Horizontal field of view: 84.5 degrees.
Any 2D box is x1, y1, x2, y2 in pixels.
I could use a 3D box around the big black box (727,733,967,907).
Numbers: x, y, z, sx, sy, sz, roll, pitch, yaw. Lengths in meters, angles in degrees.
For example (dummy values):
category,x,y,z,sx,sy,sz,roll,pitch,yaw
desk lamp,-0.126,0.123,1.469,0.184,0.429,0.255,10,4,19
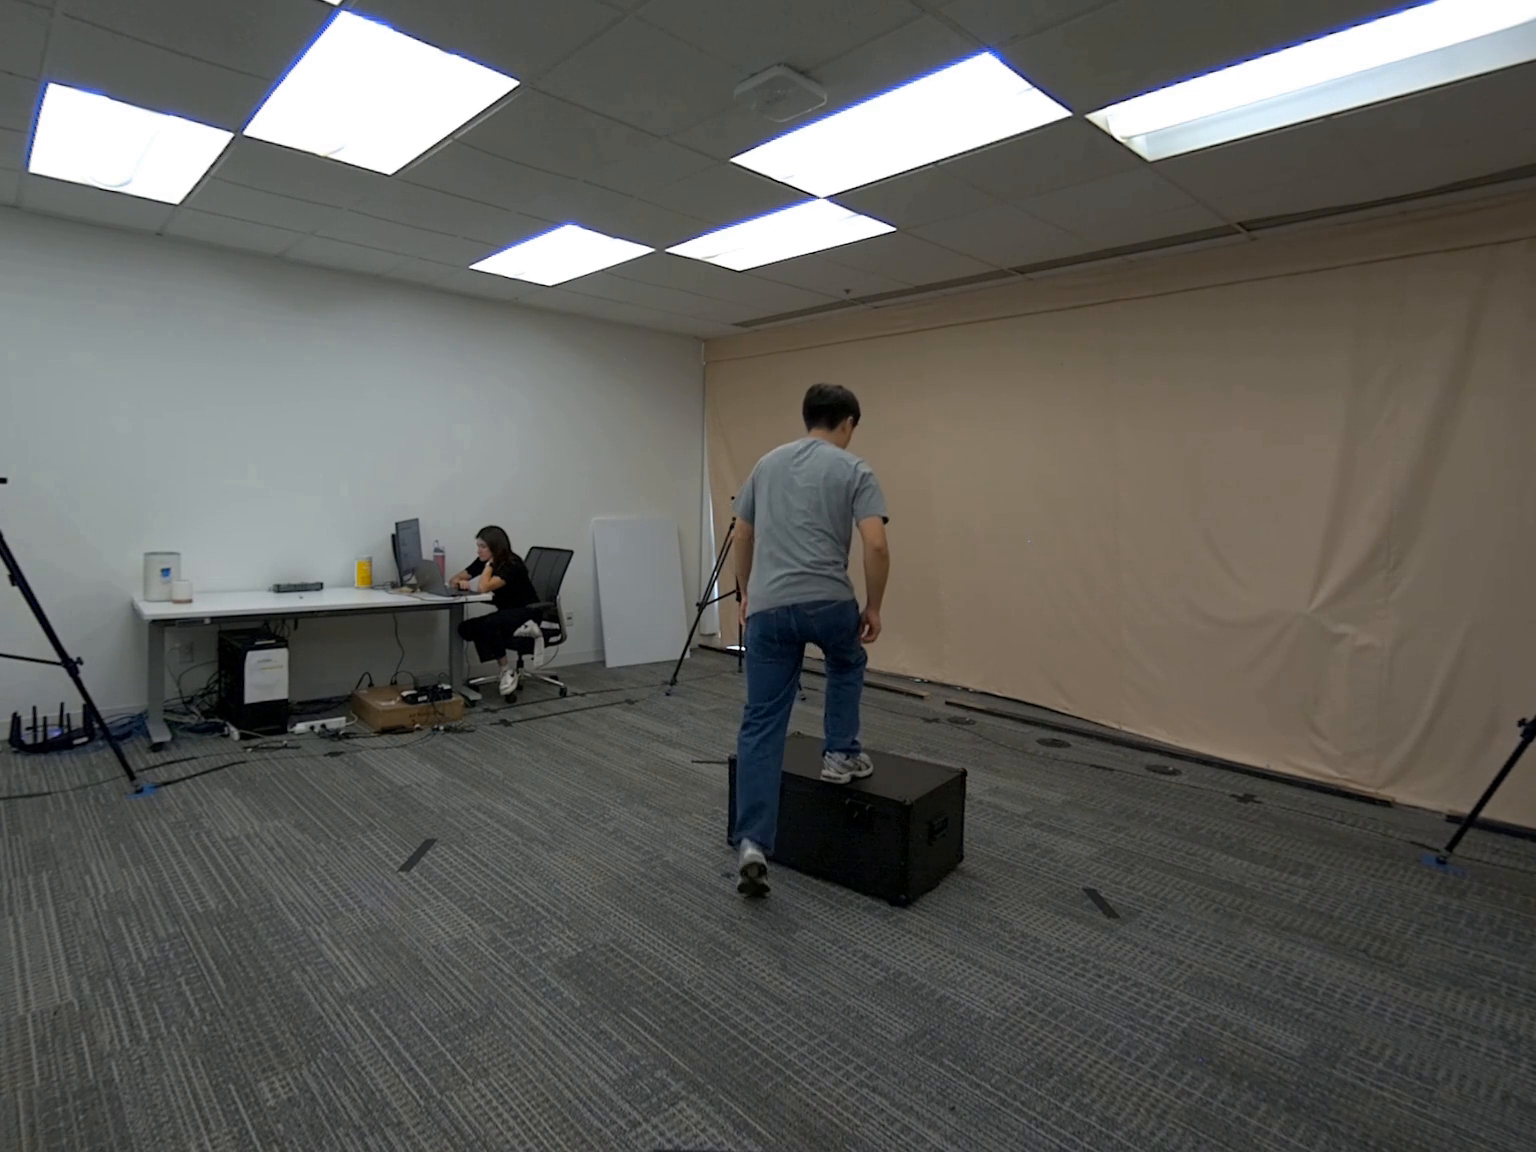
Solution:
category,x,y,z,sx,sy,sz,roll,pitch,yaw
big black box,0.264,0.911,3.291,0.883,0.395,0.510,5,6,37
